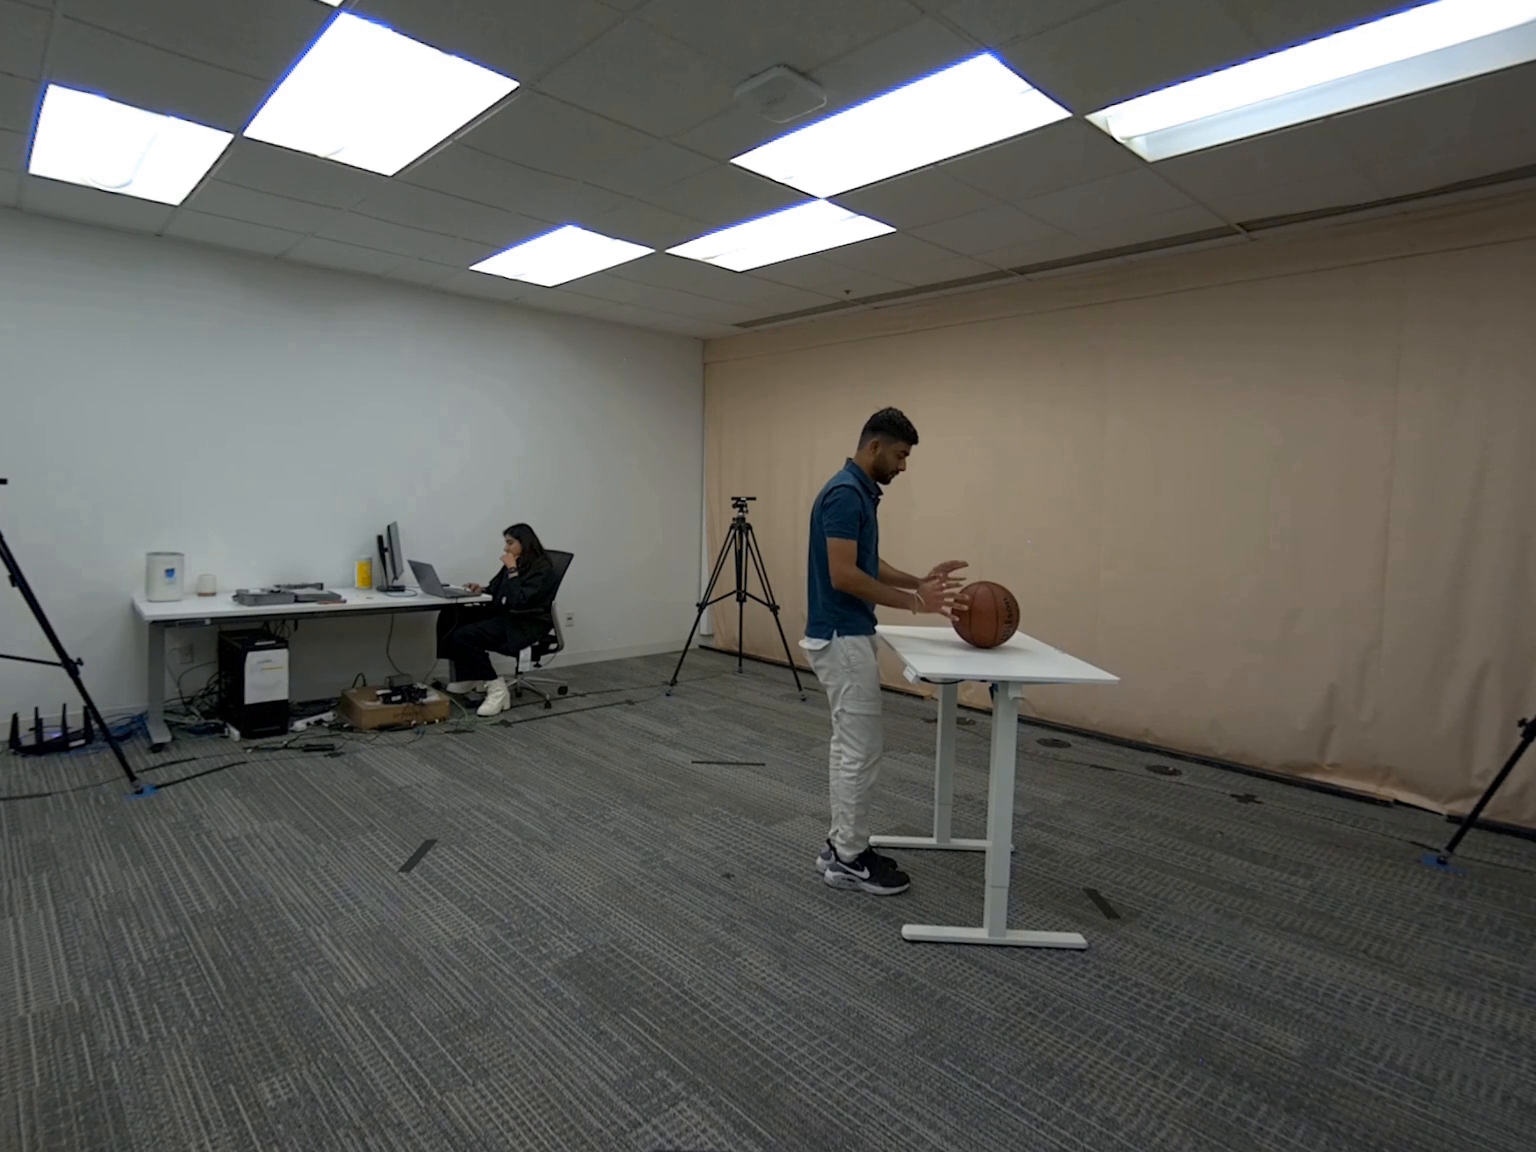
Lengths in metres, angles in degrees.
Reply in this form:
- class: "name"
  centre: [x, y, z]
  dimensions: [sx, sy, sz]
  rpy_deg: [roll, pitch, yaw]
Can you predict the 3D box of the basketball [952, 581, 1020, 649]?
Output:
- class: "basketball"
  centre: [0.770, 0.136, 3.017]
  dimensions: [0.236, 0.235, 0.237]
  rpy_deg: [1, 4, -1]
